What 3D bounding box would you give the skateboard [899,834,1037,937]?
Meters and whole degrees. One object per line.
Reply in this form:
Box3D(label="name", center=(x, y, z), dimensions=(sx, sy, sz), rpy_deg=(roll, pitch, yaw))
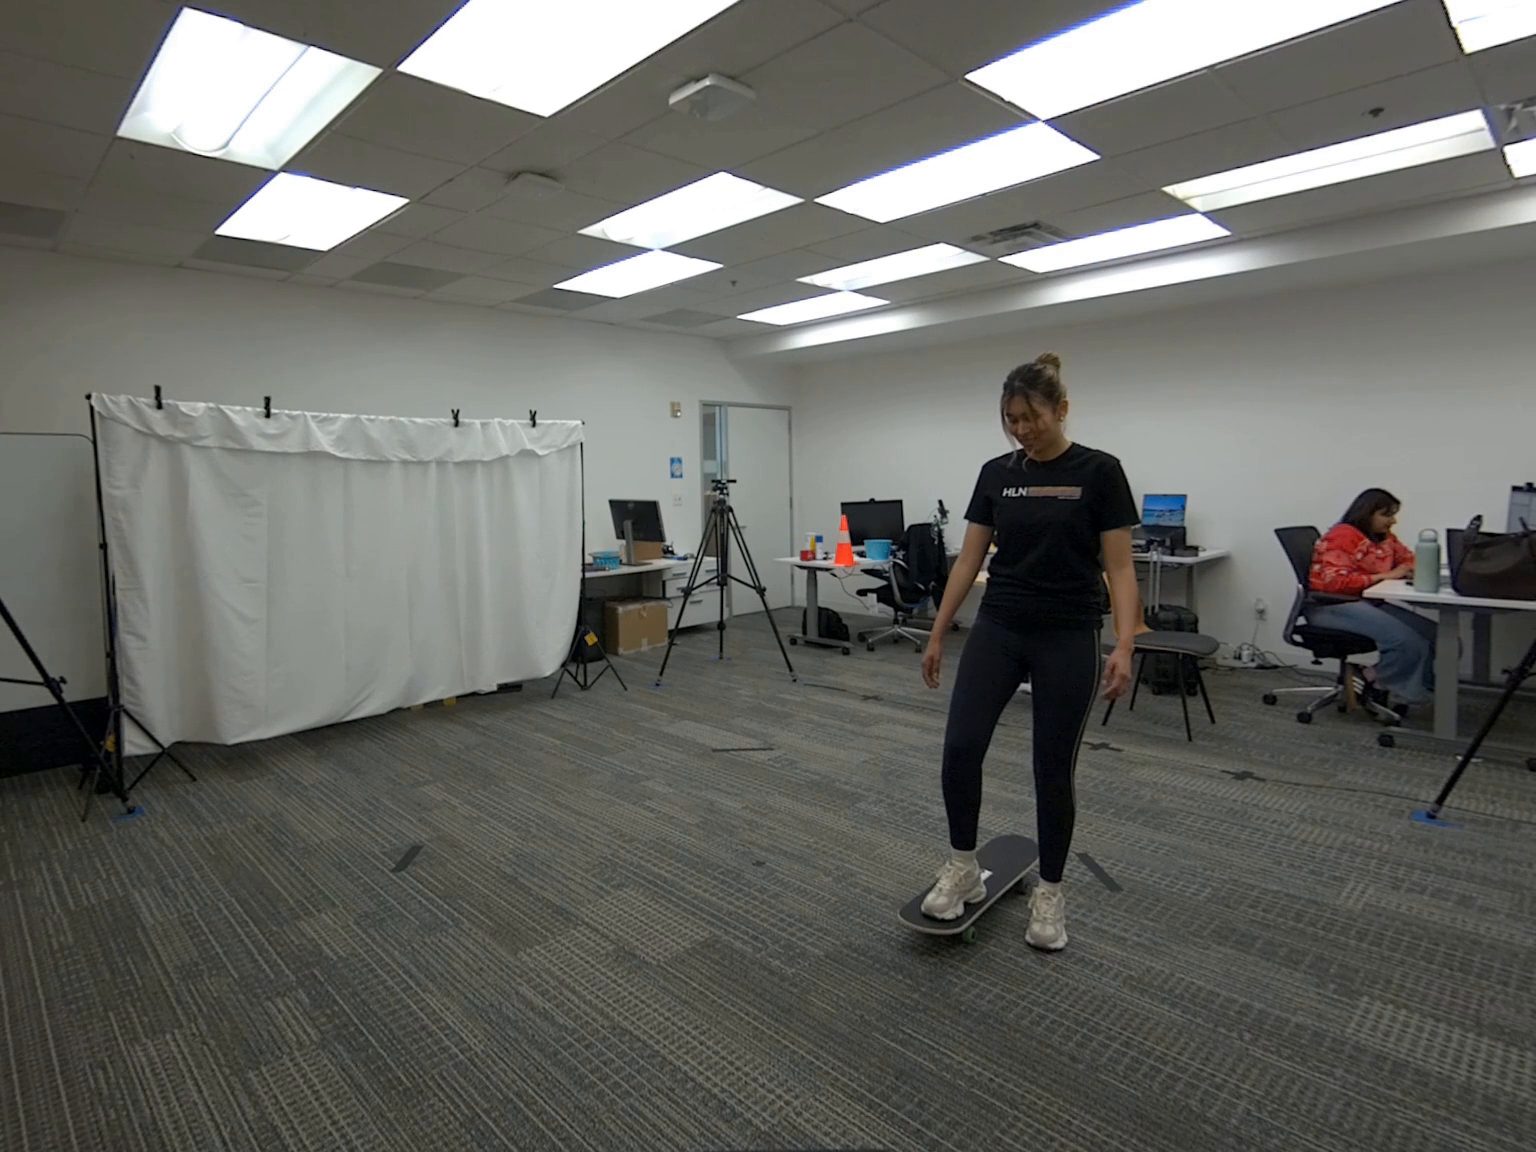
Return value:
Box3D(label="skateboard", center=(0.673, 1.022, 2.758), dimensions=(0.199, 0.110, 0.766), rpy_deg=(3, 8, 39))
